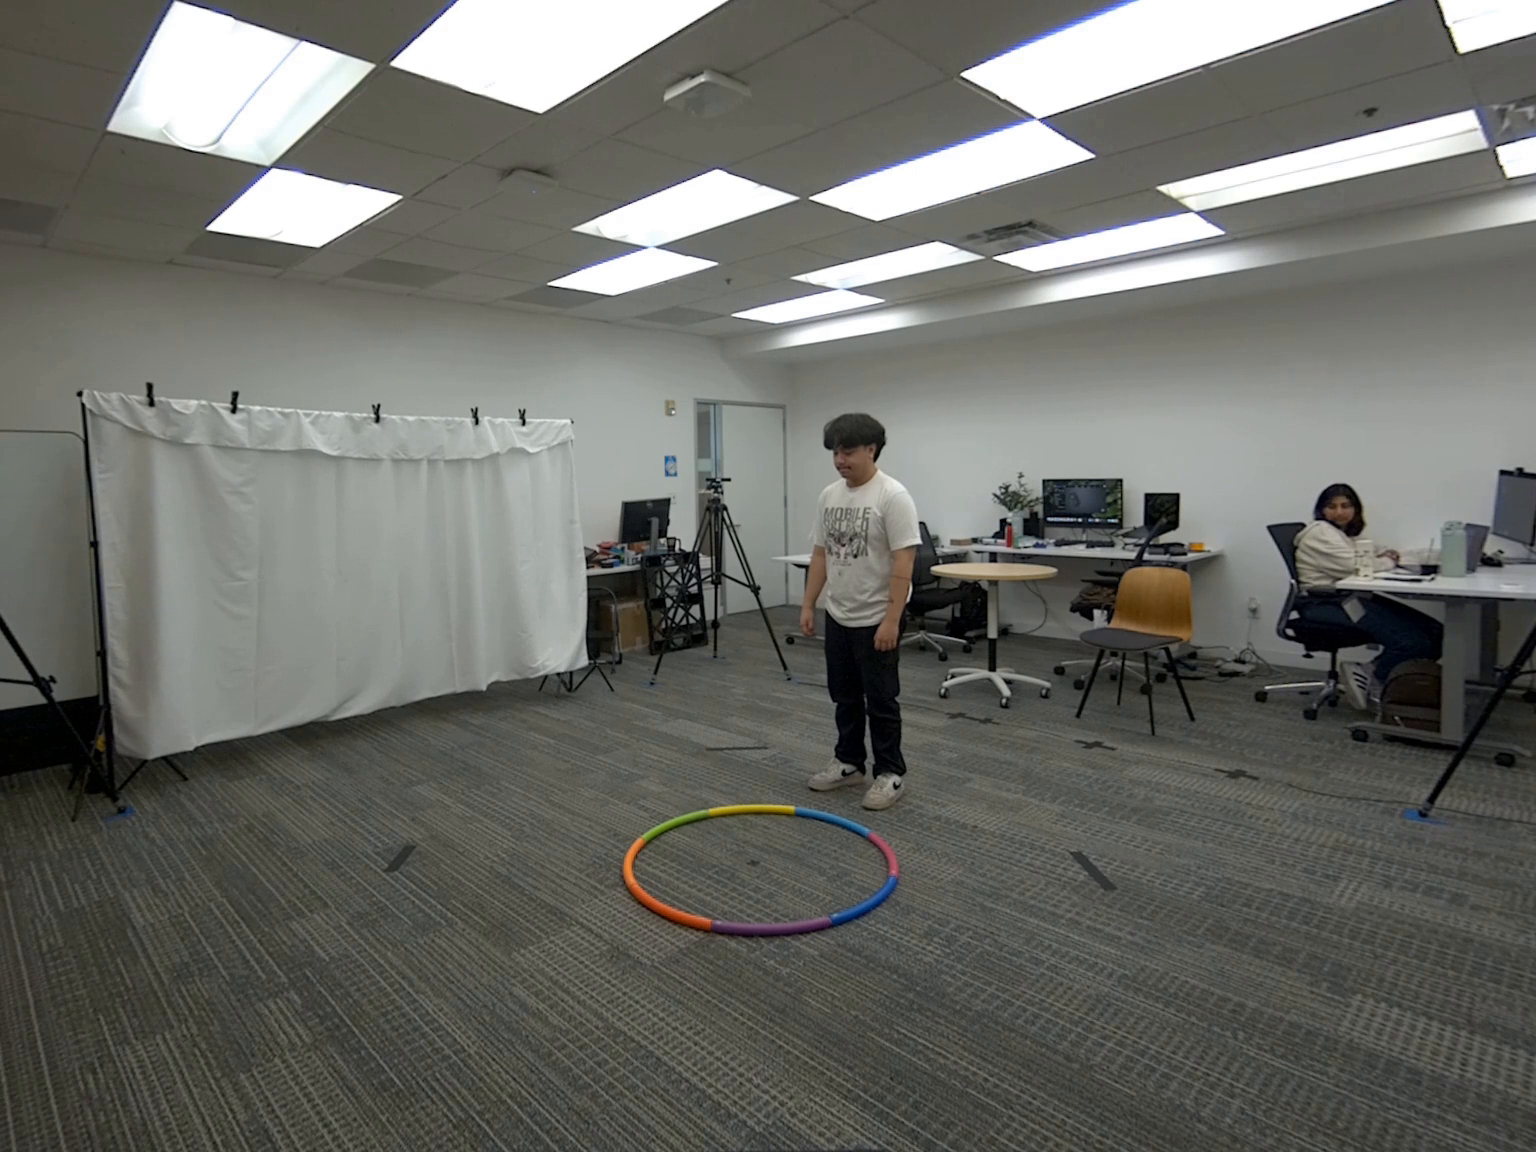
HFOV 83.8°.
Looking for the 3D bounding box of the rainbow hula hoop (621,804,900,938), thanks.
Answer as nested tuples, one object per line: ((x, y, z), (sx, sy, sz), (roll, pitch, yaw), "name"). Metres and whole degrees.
((-0.026, 1.019, 3.090), (0.985, 0.051, 0.991), (-1, 6, -2), "rainbow hula hoop")
